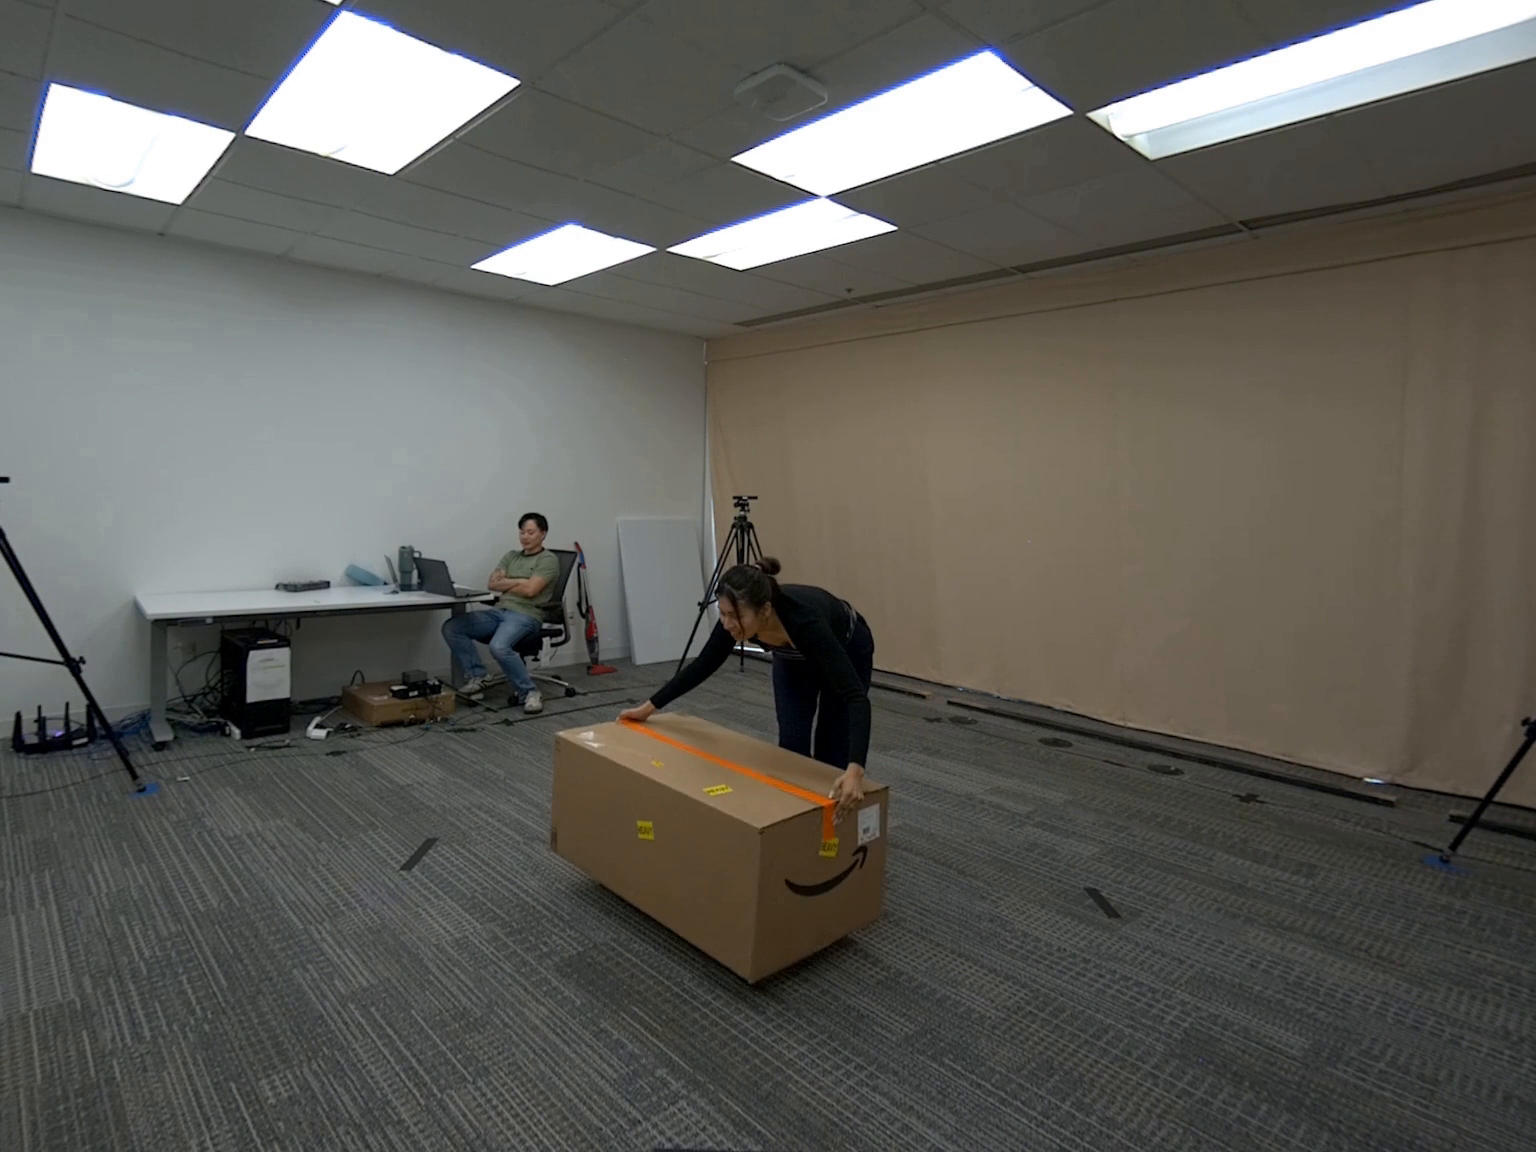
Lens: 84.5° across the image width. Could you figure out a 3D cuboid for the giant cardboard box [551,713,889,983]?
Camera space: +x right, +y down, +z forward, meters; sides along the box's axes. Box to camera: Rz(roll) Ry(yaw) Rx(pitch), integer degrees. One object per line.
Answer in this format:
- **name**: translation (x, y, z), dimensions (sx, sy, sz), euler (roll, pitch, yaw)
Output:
- **giant cardboard box**: translation (-0.202, 0.805, 2.768), dimensions (0.564, 0.425, 1.053), euler (0, 6, -45)
